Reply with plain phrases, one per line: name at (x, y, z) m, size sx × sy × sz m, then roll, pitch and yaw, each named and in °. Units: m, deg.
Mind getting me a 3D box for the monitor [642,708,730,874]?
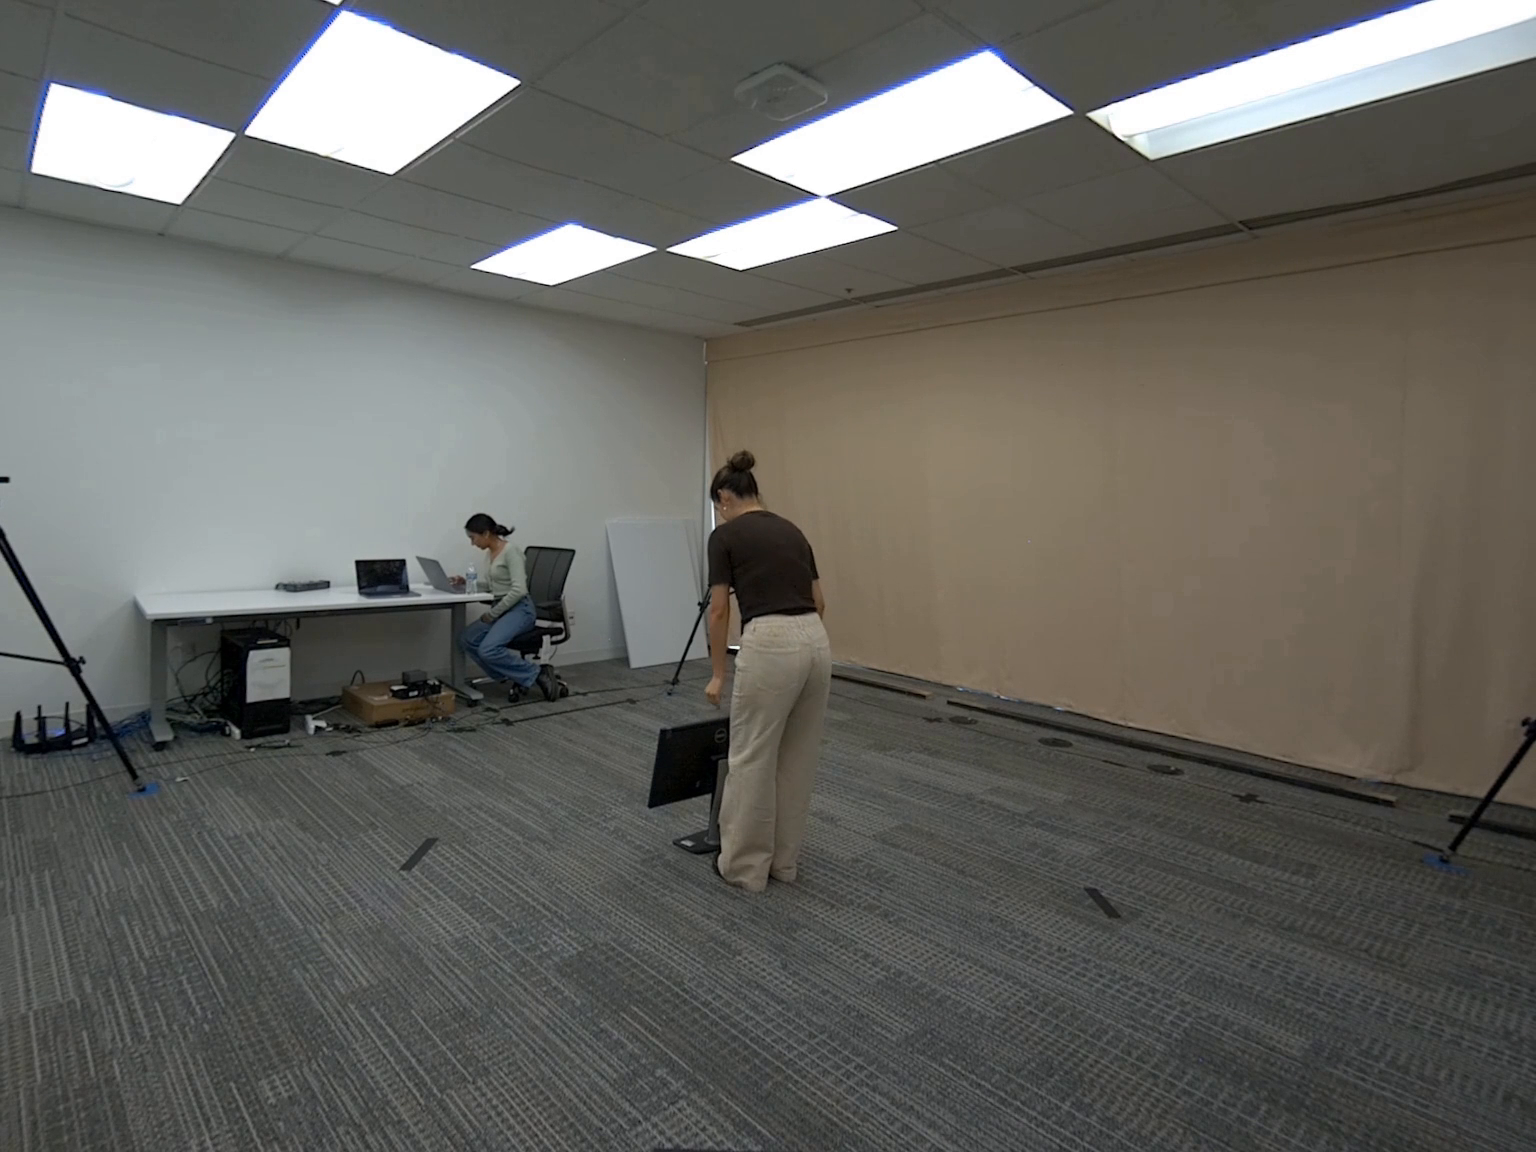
monitor at (-0.218, 0.826, 3.380) m, size 0.527 × 0.521 × 0.192 m, roll -3°, pitch 7°, yaw -40°
